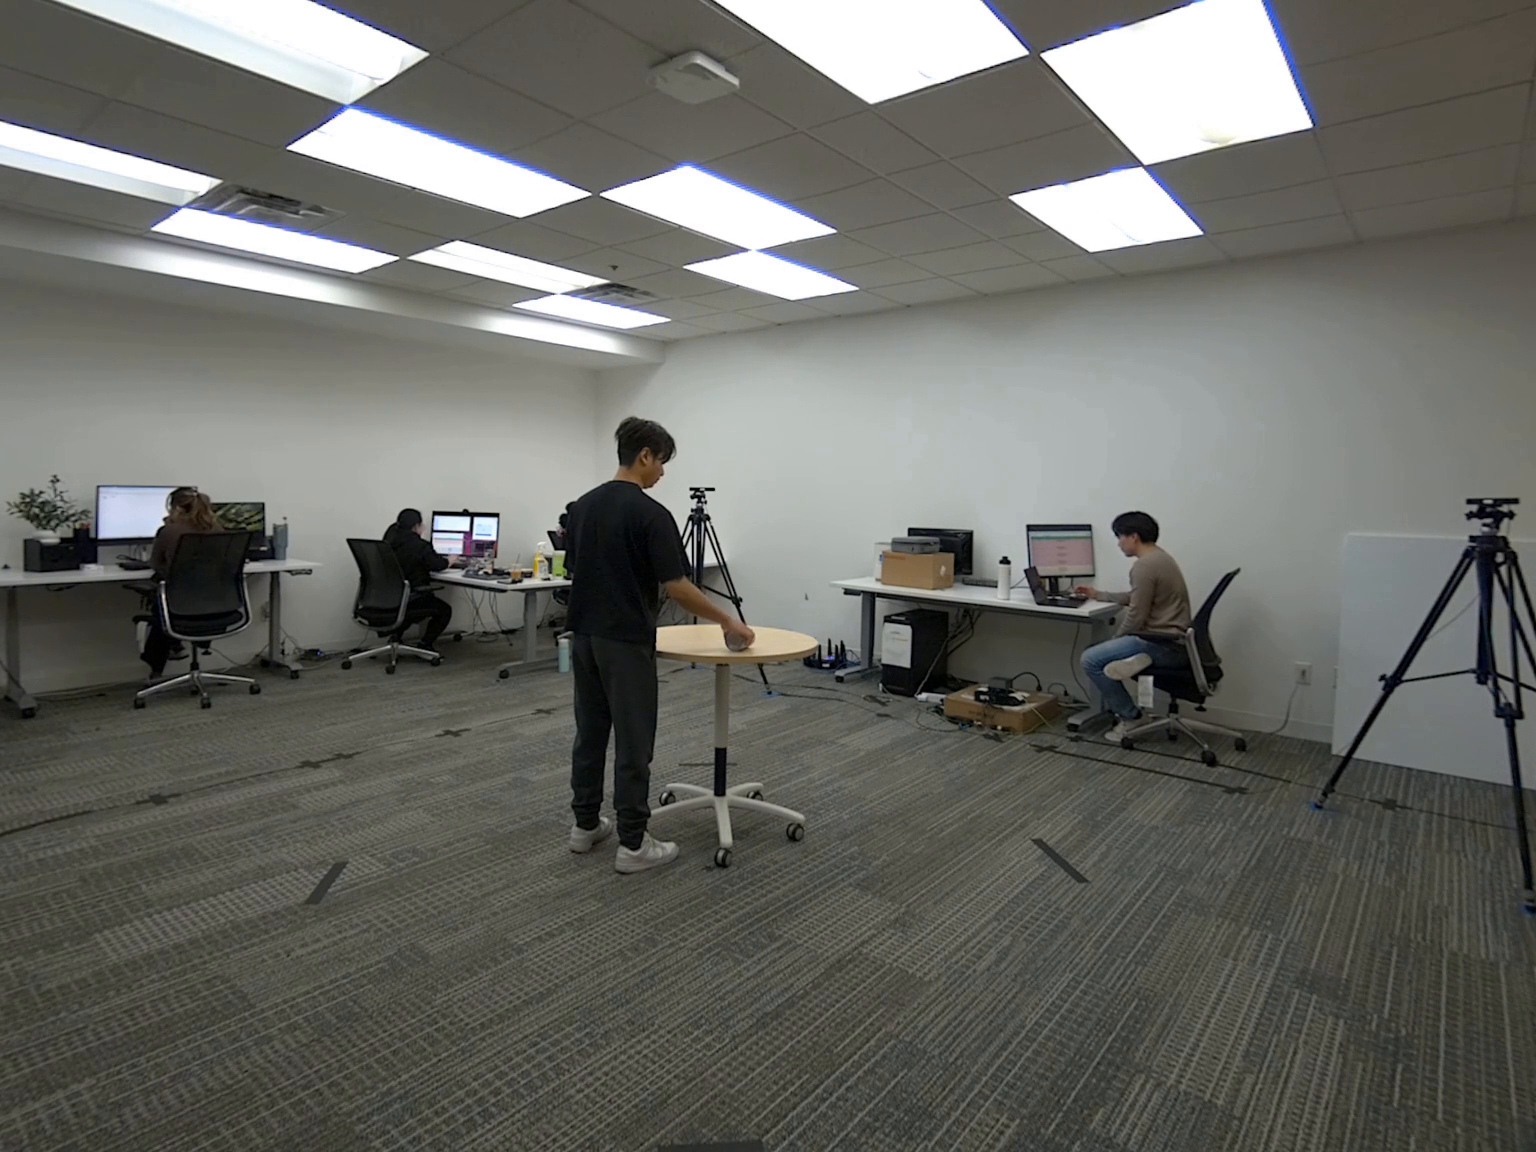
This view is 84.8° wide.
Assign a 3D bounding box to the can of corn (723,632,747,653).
[{"bbox_3d":[-0.117,0.238,3.216,0.076,0.074,0.109,3,5,22],"label":"can of corn"}]
